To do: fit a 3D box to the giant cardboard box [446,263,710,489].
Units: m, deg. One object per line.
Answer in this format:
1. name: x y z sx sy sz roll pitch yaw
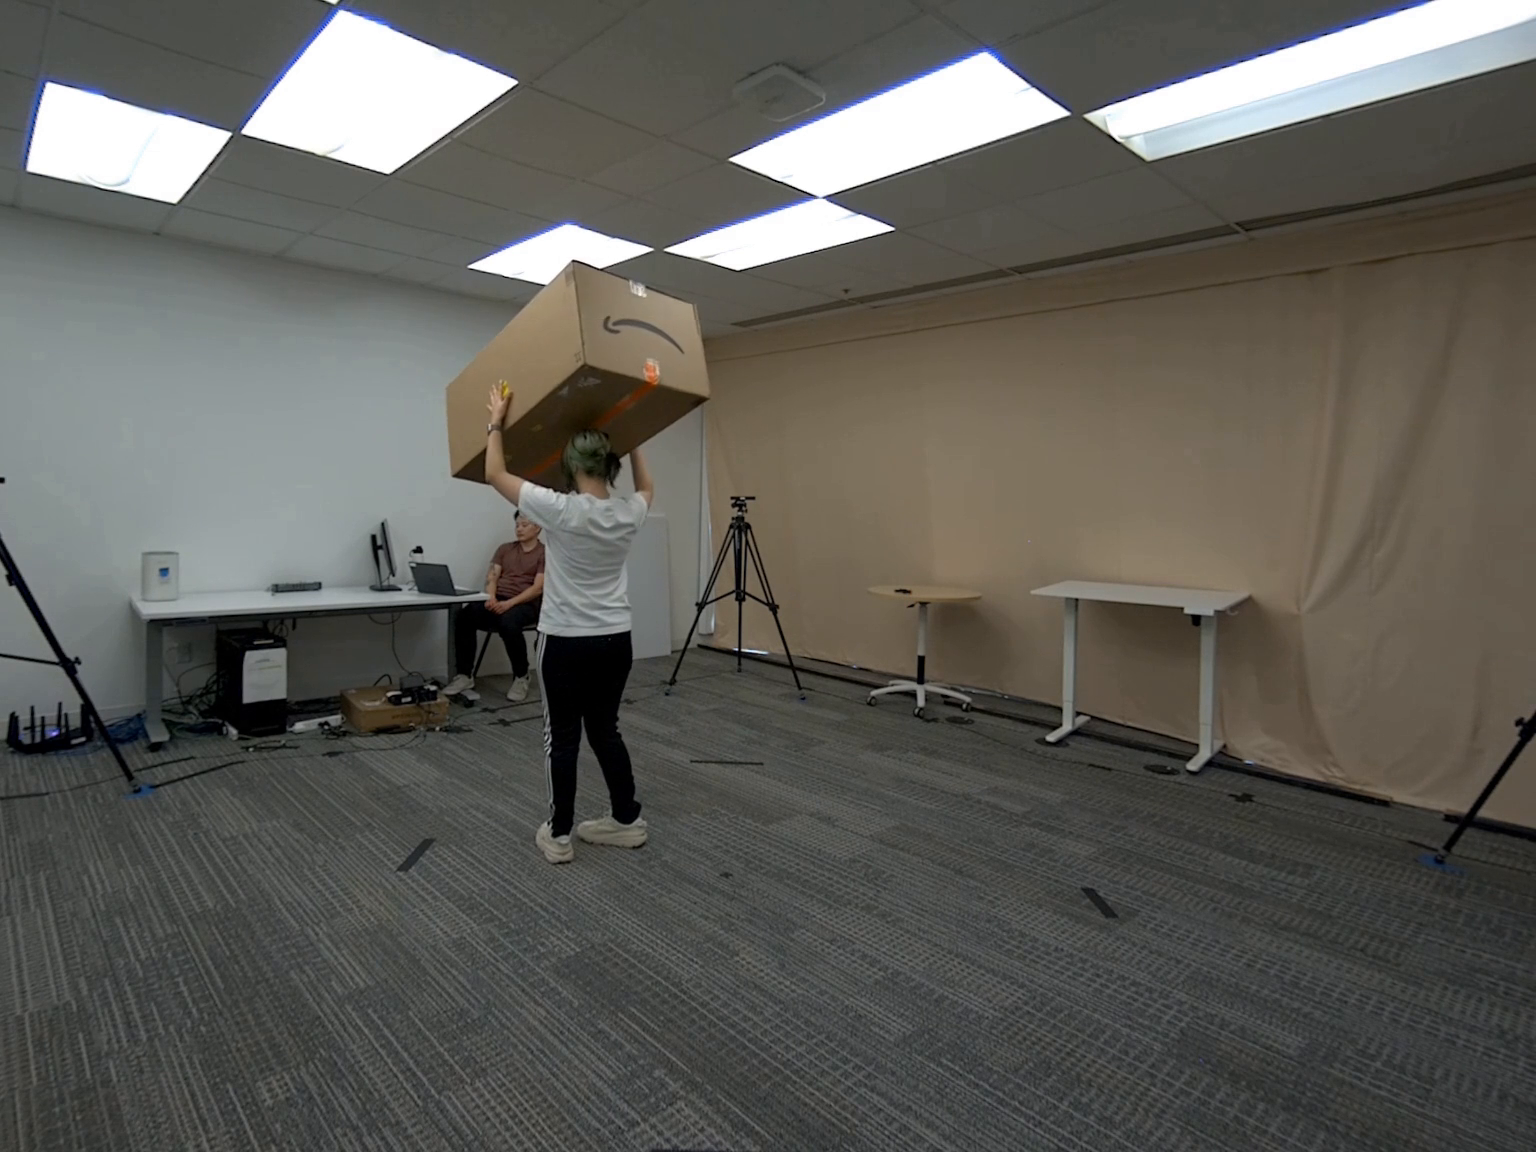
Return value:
1. giant cardboard box: -0.806 -0.738 3.422 0.569 0.453 1.039 5 -21 -44
